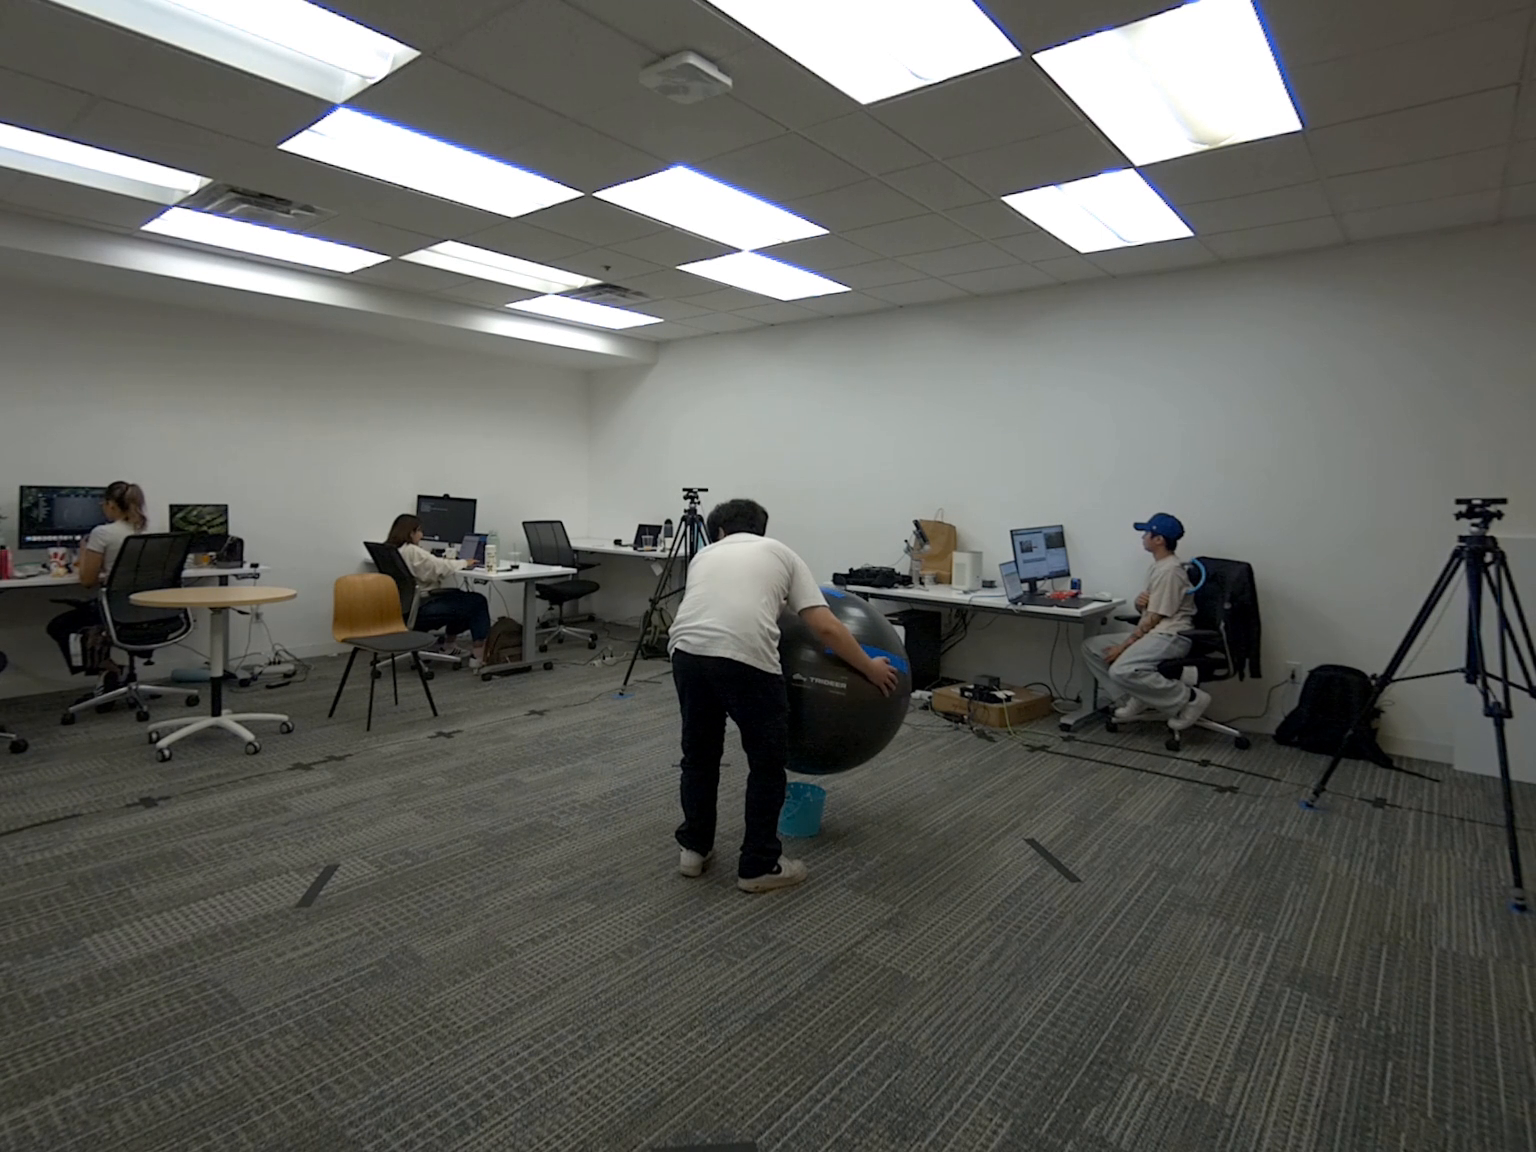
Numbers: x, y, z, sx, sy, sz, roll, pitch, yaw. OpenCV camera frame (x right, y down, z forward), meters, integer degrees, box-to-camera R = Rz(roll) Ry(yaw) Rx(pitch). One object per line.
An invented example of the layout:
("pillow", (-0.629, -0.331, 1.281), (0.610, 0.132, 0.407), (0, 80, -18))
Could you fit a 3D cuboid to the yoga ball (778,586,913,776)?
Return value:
("yoga ball", (0.213, 0.421, 3.506), (0.757, 0.755, 0.762), (1, 4, -2))
